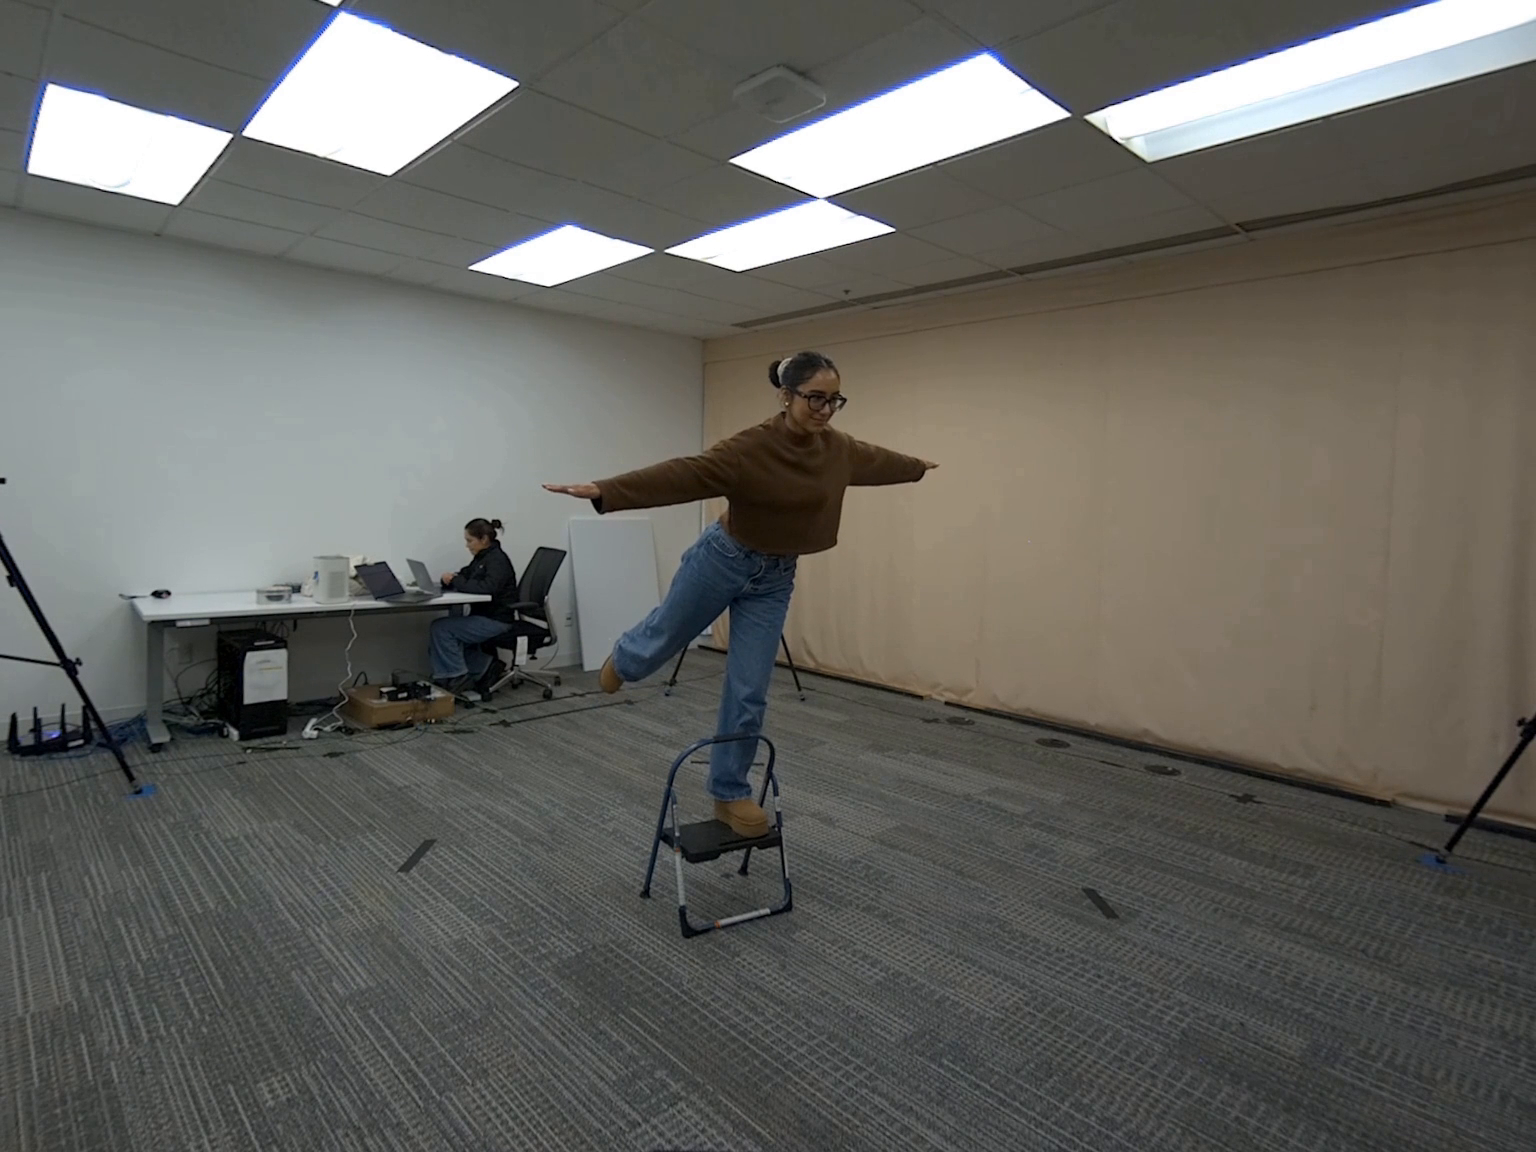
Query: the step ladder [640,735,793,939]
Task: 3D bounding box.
[{"bbox_3d":[-0.176,0.826,2.878,0.421,0.604,0.357,-1,4,-32],"label":"step ladder"}]
